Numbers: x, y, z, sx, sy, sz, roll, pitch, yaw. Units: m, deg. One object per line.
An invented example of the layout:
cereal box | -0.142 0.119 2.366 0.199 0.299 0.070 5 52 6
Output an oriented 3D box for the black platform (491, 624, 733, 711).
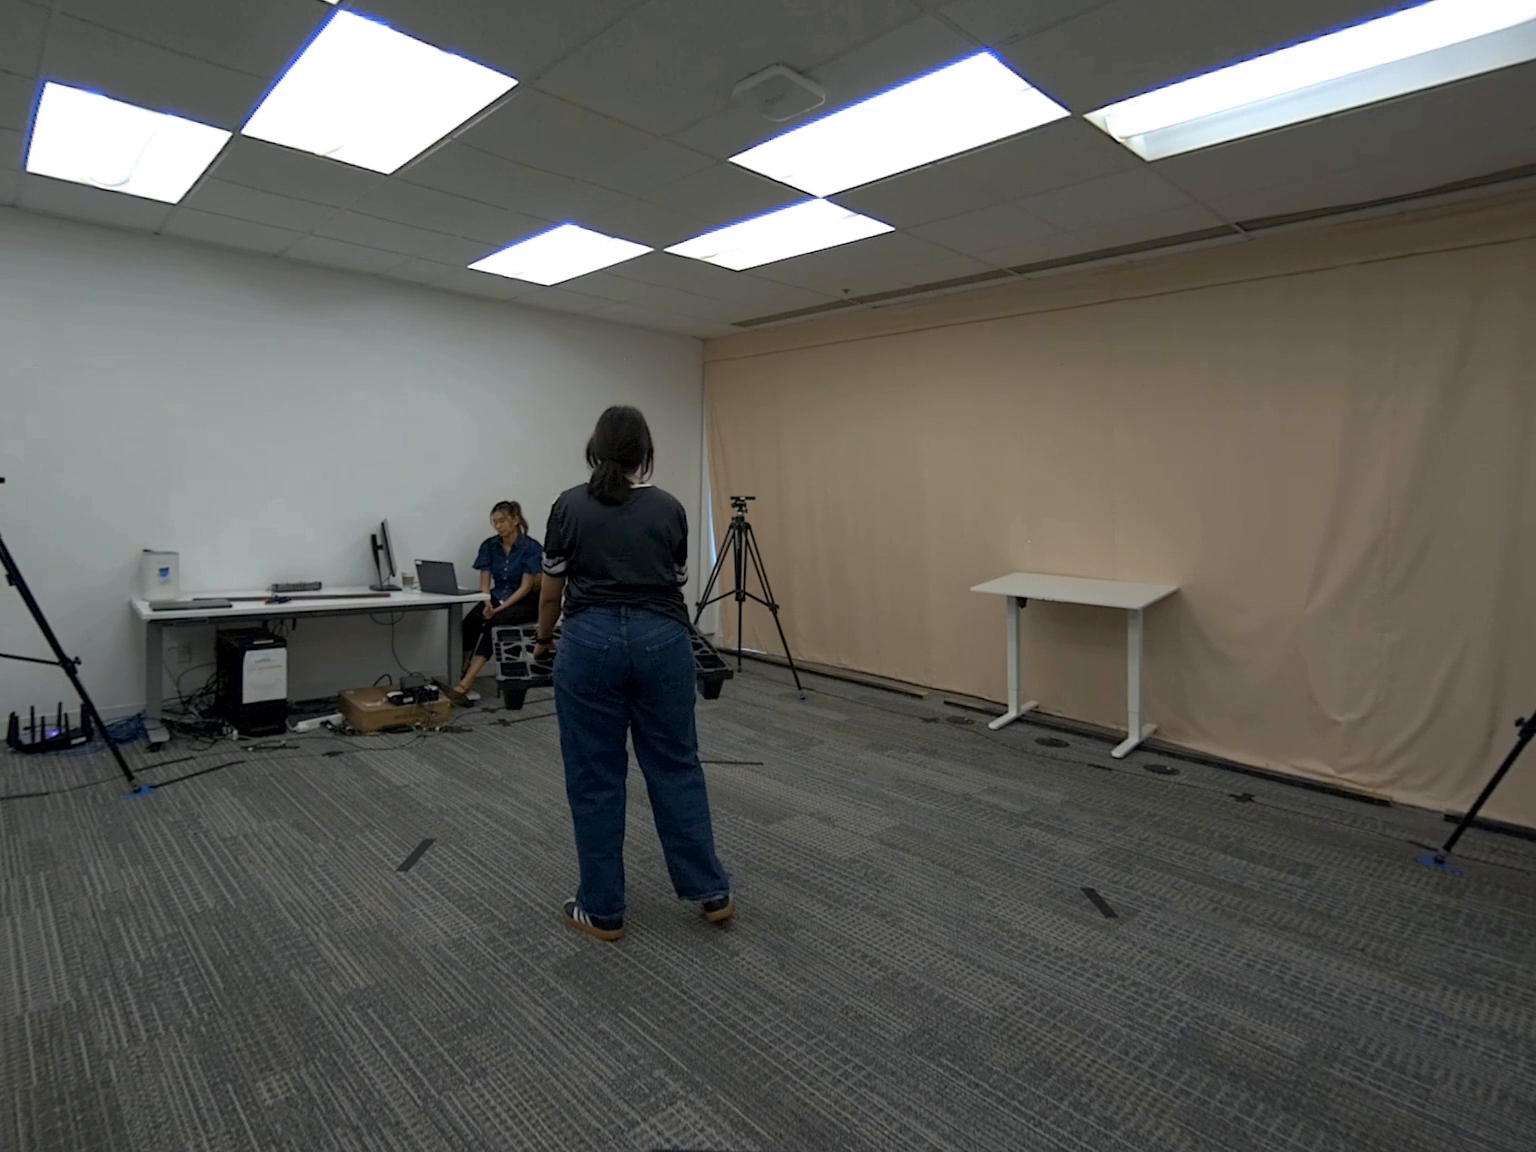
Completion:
black platform | -0.601 0.328 3.086 0.794 0.142 0.618 0 13 -18
